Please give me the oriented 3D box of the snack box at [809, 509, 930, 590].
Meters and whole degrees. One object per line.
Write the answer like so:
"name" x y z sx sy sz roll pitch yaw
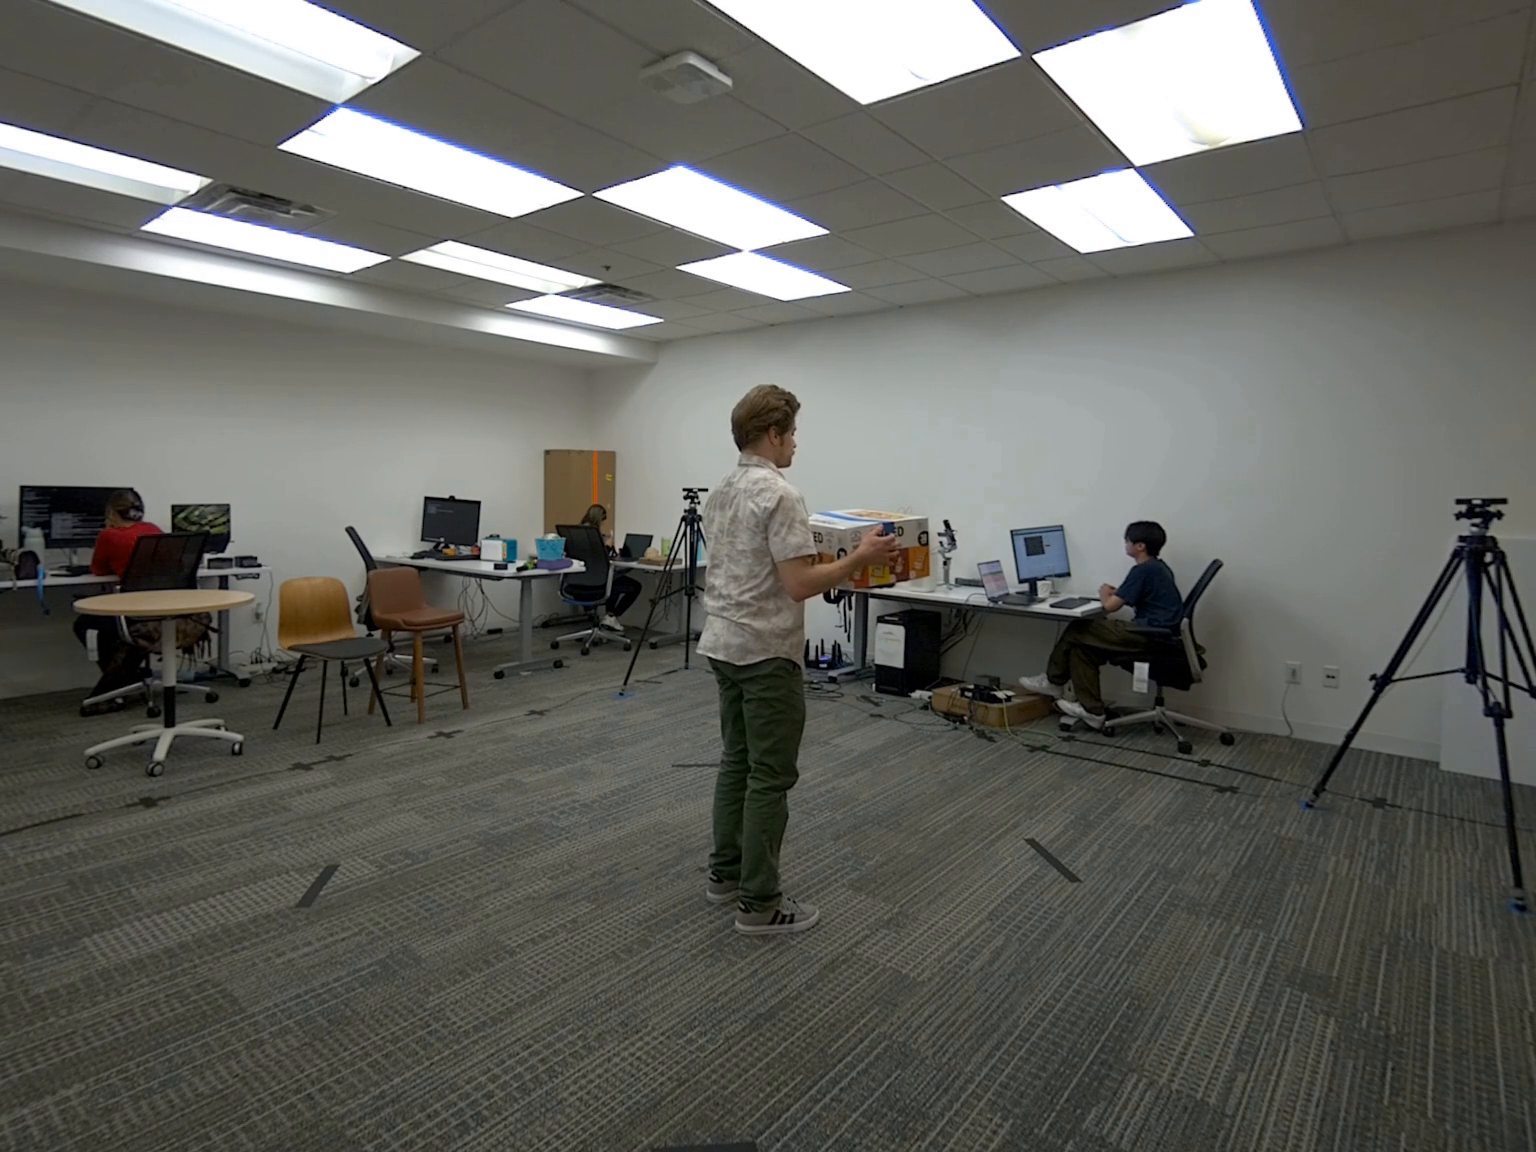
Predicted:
"snack box" 0.283 -0.105 2.958 0.332 0.204 0.418 -8 11 -29
